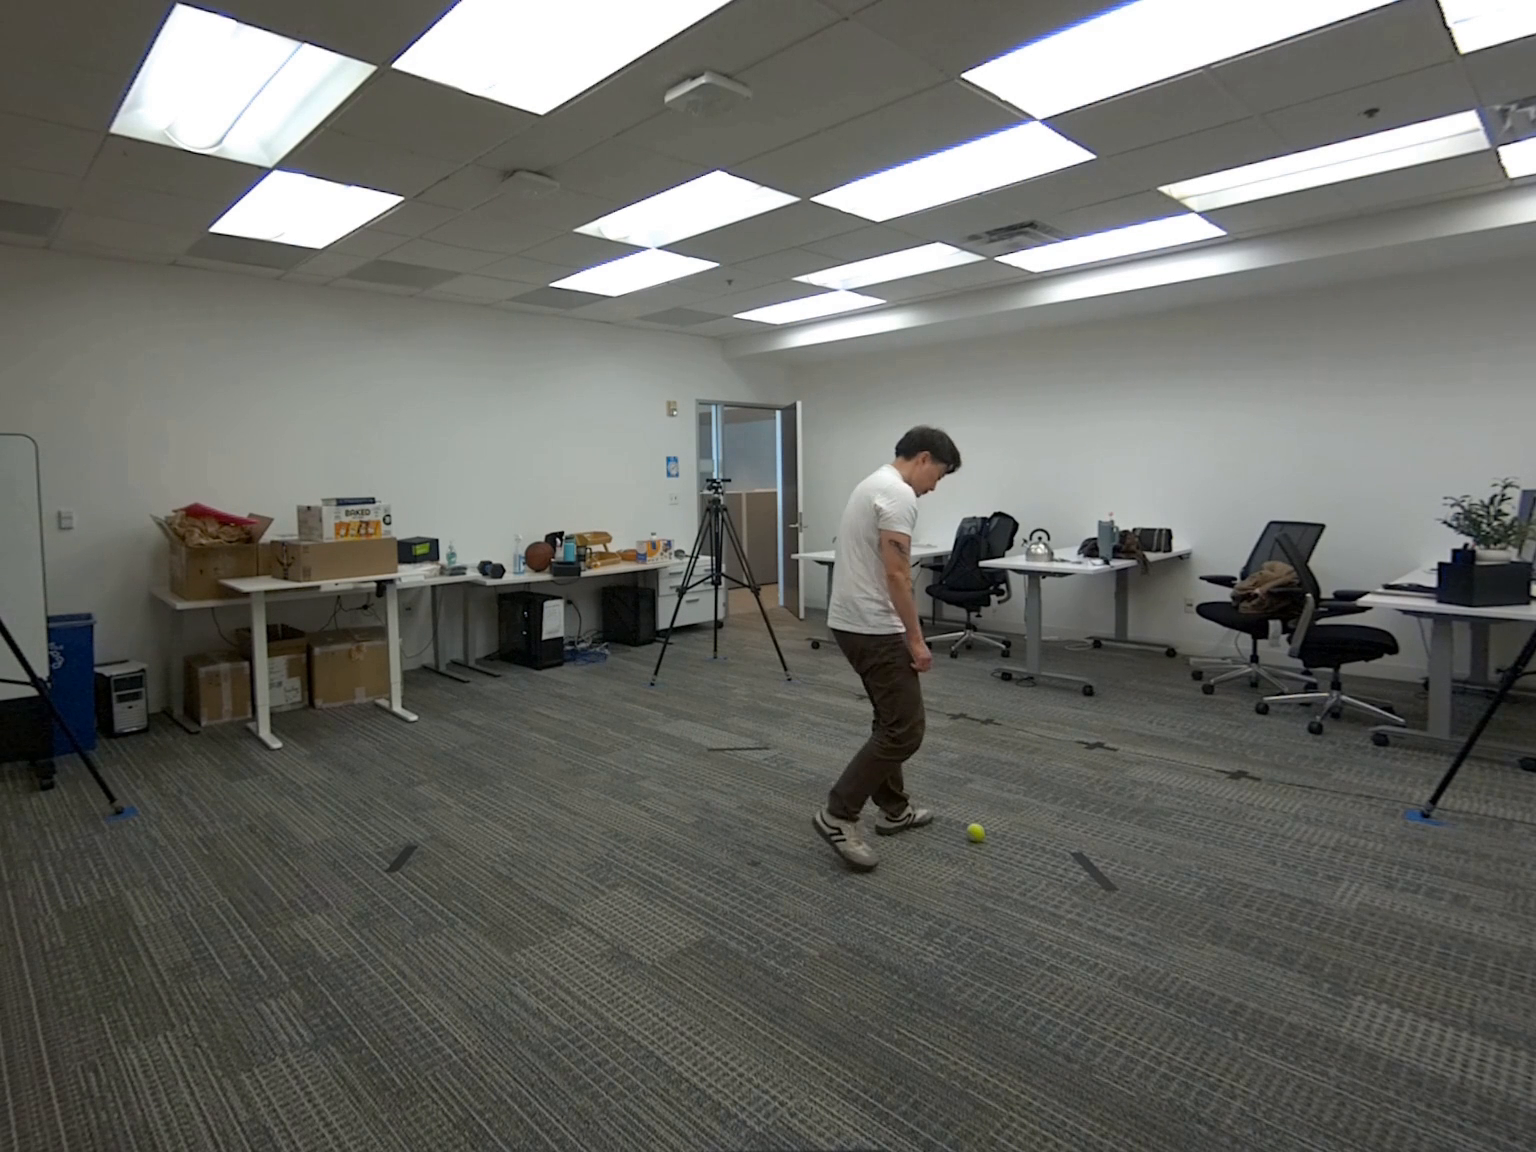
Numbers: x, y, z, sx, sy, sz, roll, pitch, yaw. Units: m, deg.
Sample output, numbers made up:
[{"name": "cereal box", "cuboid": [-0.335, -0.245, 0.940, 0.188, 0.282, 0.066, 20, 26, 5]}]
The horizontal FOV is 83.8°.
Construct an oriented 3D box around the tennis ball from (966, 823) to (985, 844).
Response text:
[{"name": "tennis ball", "cuboid": [0.800, 0.971, 3.258, 0.066, 0.066, 0.067, -1, 5, -2]}]
